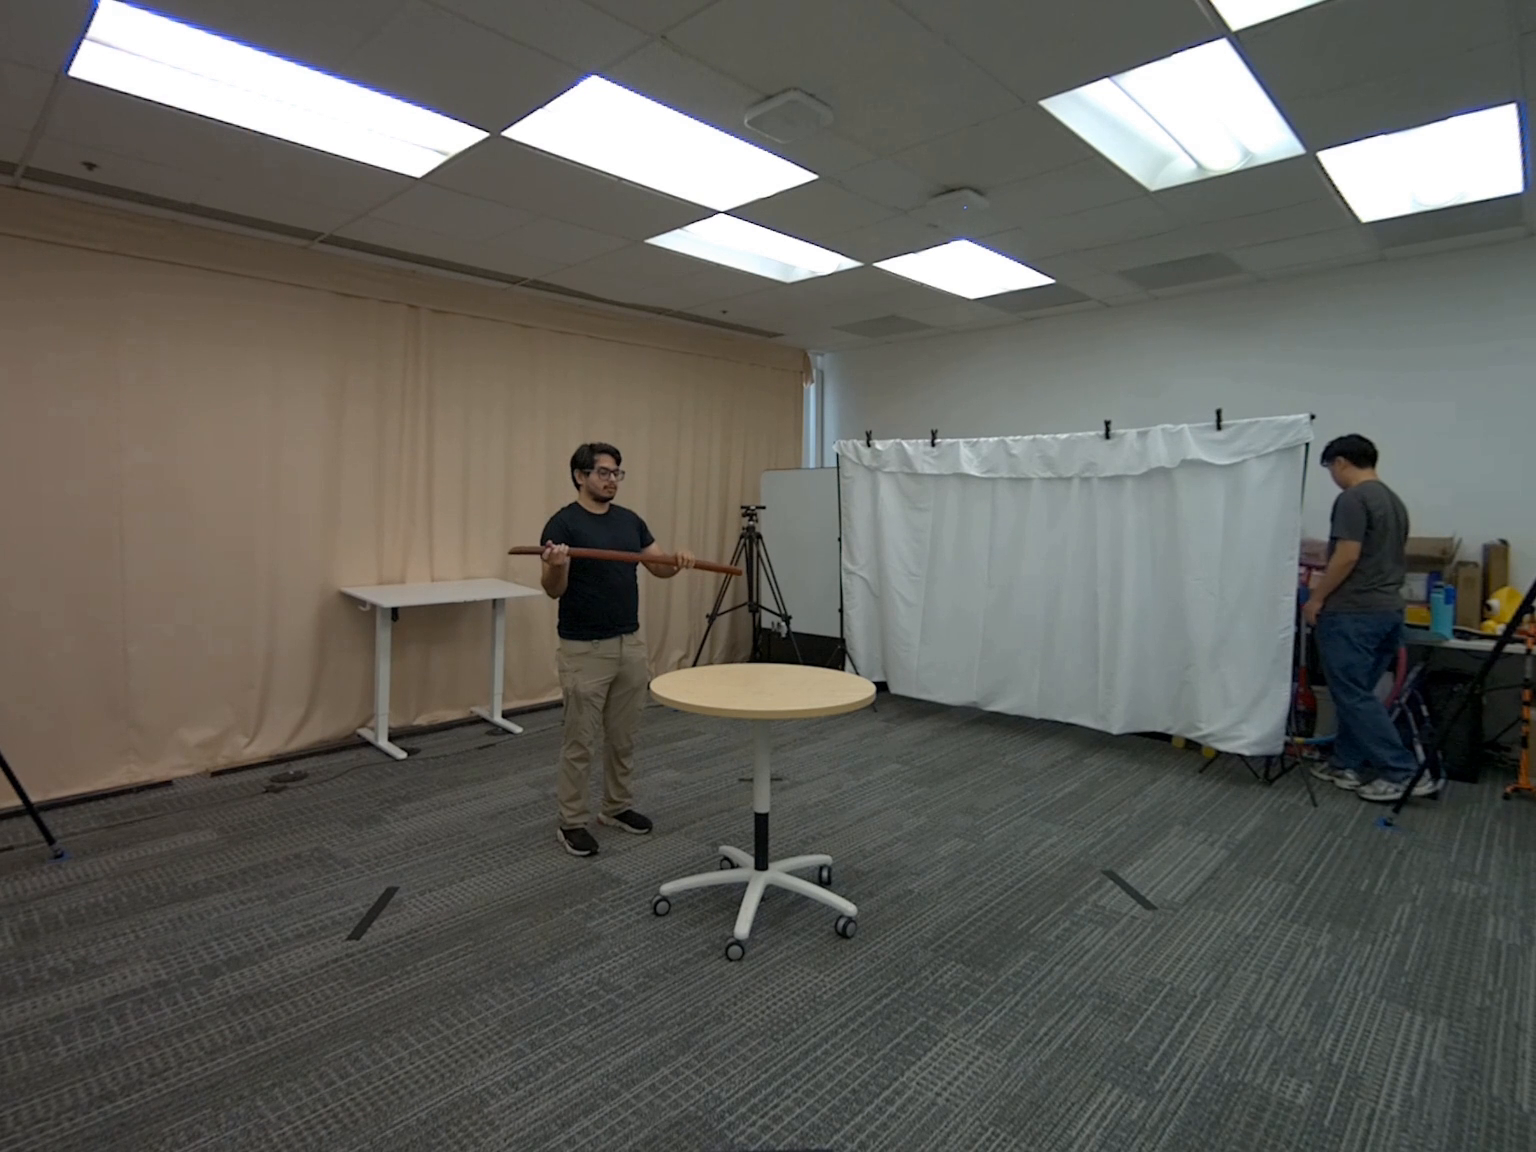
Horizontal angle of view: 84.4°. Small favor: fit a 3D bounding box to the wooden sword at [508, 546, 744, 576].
[{"bbox_3d":[-0.511,-0.072,3.228,0.993,0.052,0.024,5,-30,-34],"label":"wooden sword"}]
